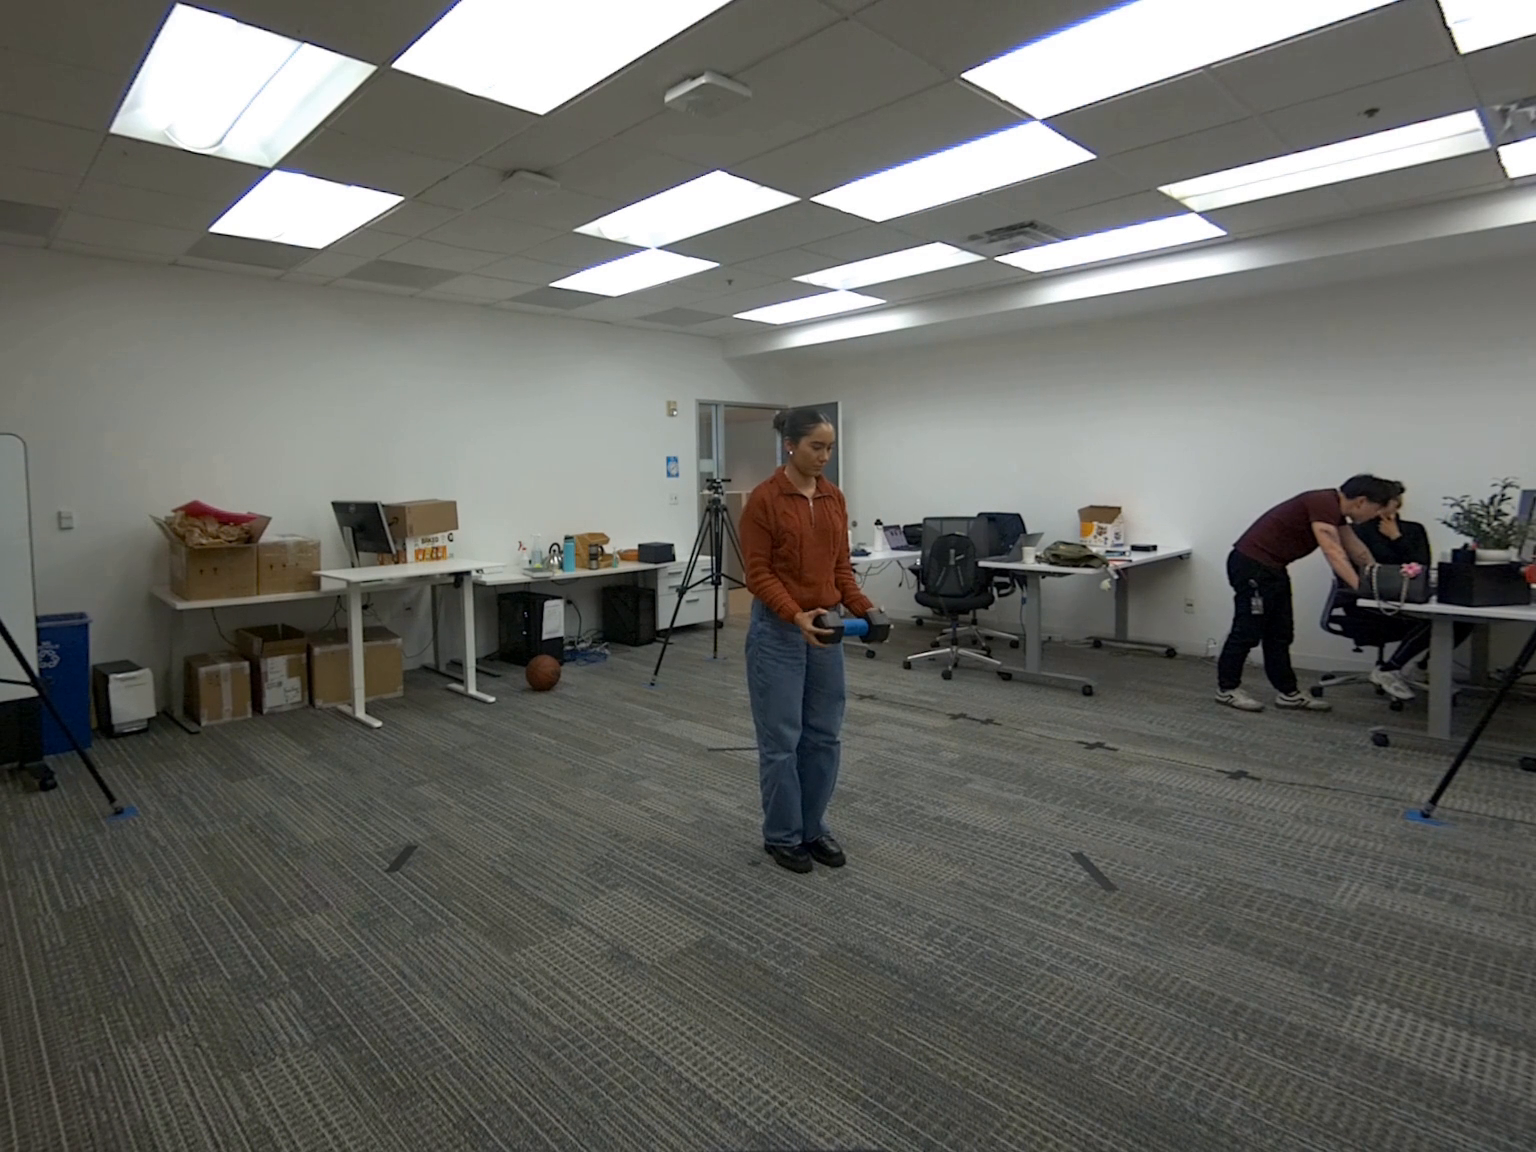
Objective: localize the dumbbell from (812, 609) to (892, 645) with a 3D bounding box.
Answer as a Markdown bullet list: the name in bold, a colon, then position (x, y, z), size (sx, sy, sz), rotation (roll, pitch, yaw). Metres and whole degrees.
- **dumbbell**: position (0.262, 0.172, 2.933), size (0.286, 0.107, 0.127), rotation (1, 46, -27)
